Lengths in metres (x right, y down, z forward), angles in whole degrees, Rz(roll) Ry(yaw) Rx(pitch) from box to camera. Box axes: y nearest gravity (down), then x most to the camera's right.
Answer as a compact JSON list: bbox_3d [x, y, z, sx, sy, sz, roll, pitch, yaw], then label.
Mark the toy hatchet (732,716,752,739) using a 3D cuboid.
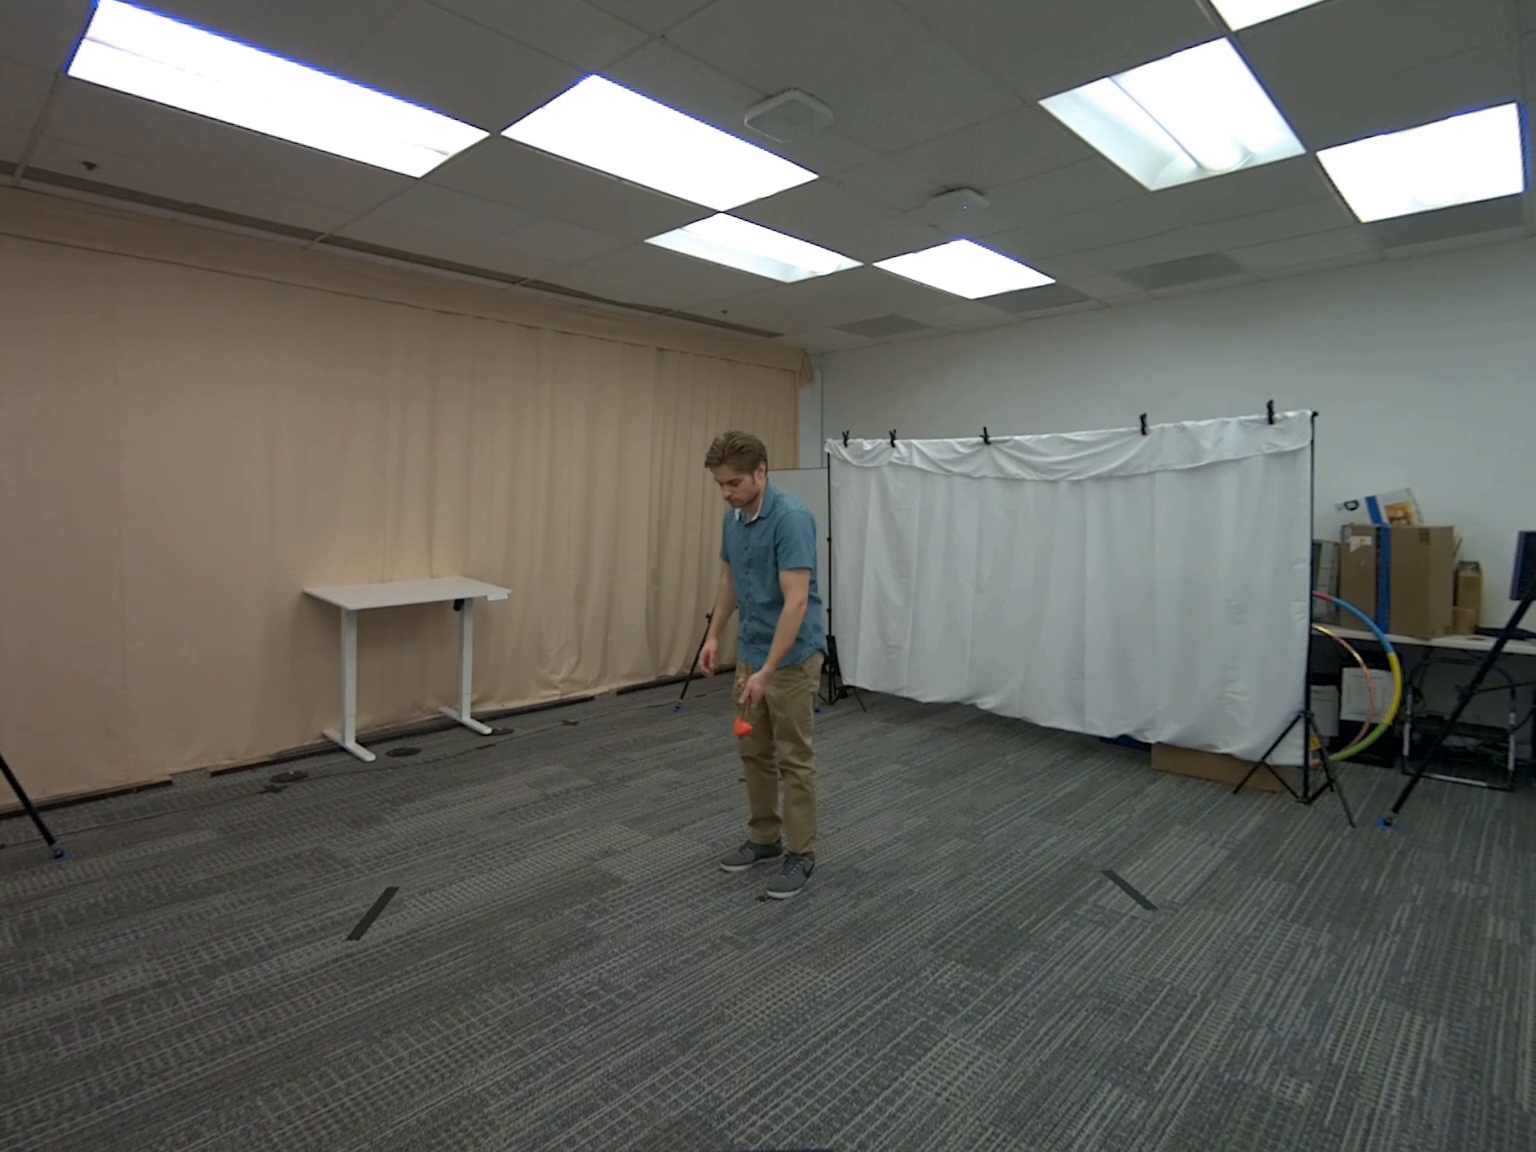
[{"bbox_3d":[-0.088,0.419,2.877,0.029,0.274,0.131,18,-44,-12],"label":"toy hatchet"}]
